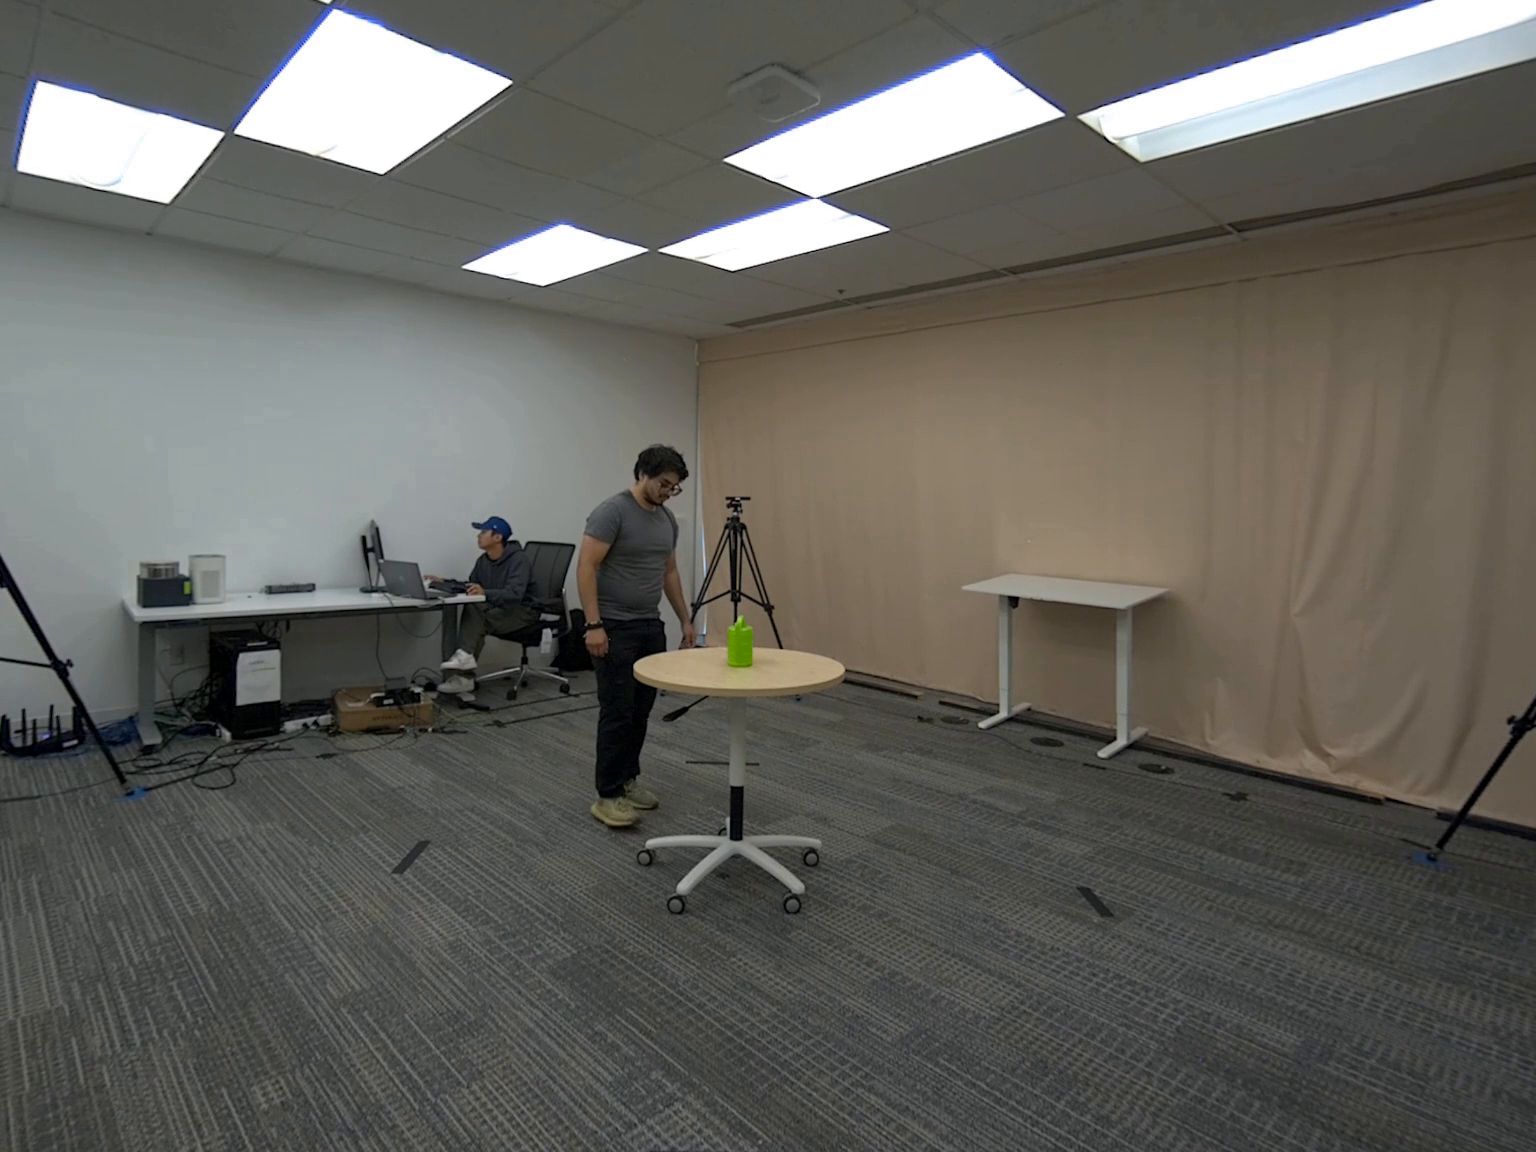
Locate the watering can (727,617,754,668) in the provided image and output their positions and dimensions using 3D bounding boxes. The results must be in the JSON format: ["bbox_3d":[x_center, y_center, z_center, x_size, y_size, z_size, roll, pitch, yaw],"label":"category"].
[{"bbox_3d":[-0.128,0.247,3.044,0.100,0.176,0.274,2,5,22],"label":"watering can"}]
